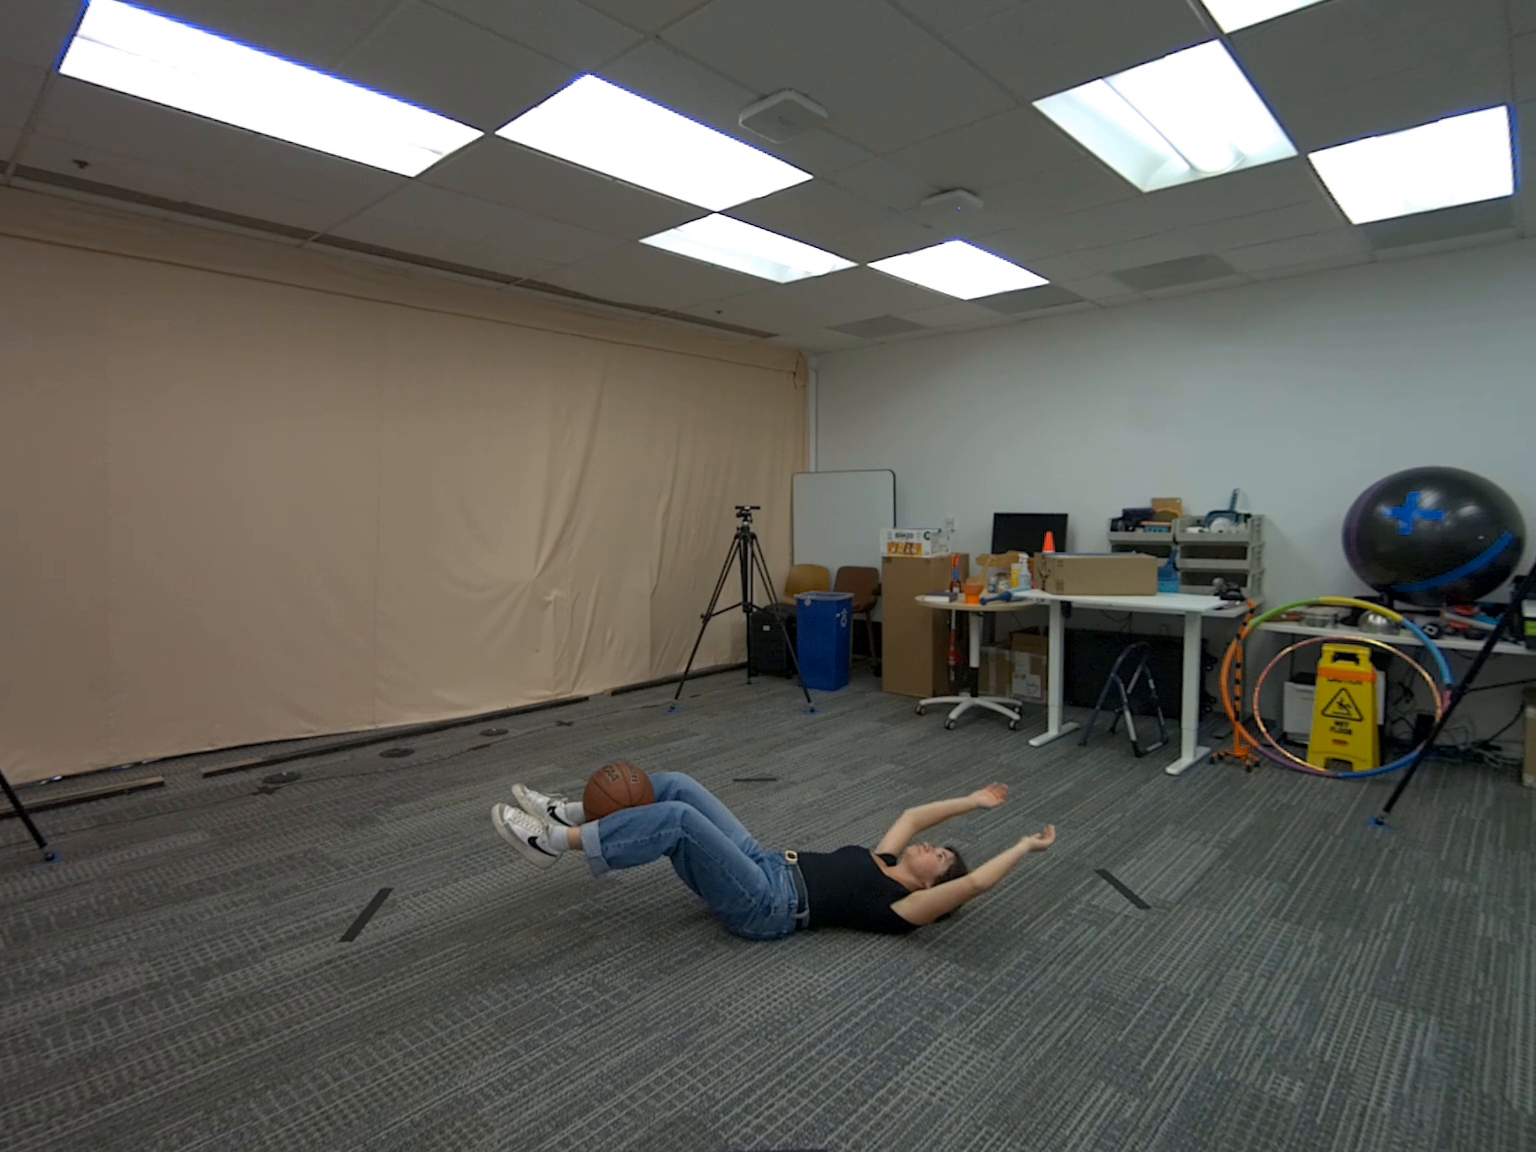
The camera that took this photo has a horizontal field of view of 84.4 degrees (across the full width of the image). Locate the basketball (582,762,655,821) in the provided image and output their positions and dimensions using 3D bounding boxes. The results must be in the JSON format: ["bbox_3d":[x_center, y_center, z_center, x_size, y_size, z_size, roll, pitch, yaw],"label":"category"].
[{"bbox_3d":[-0.490,0.732,2.776,0.236,0.235,0.237,0,4,-2],"label":"basketball"}]
